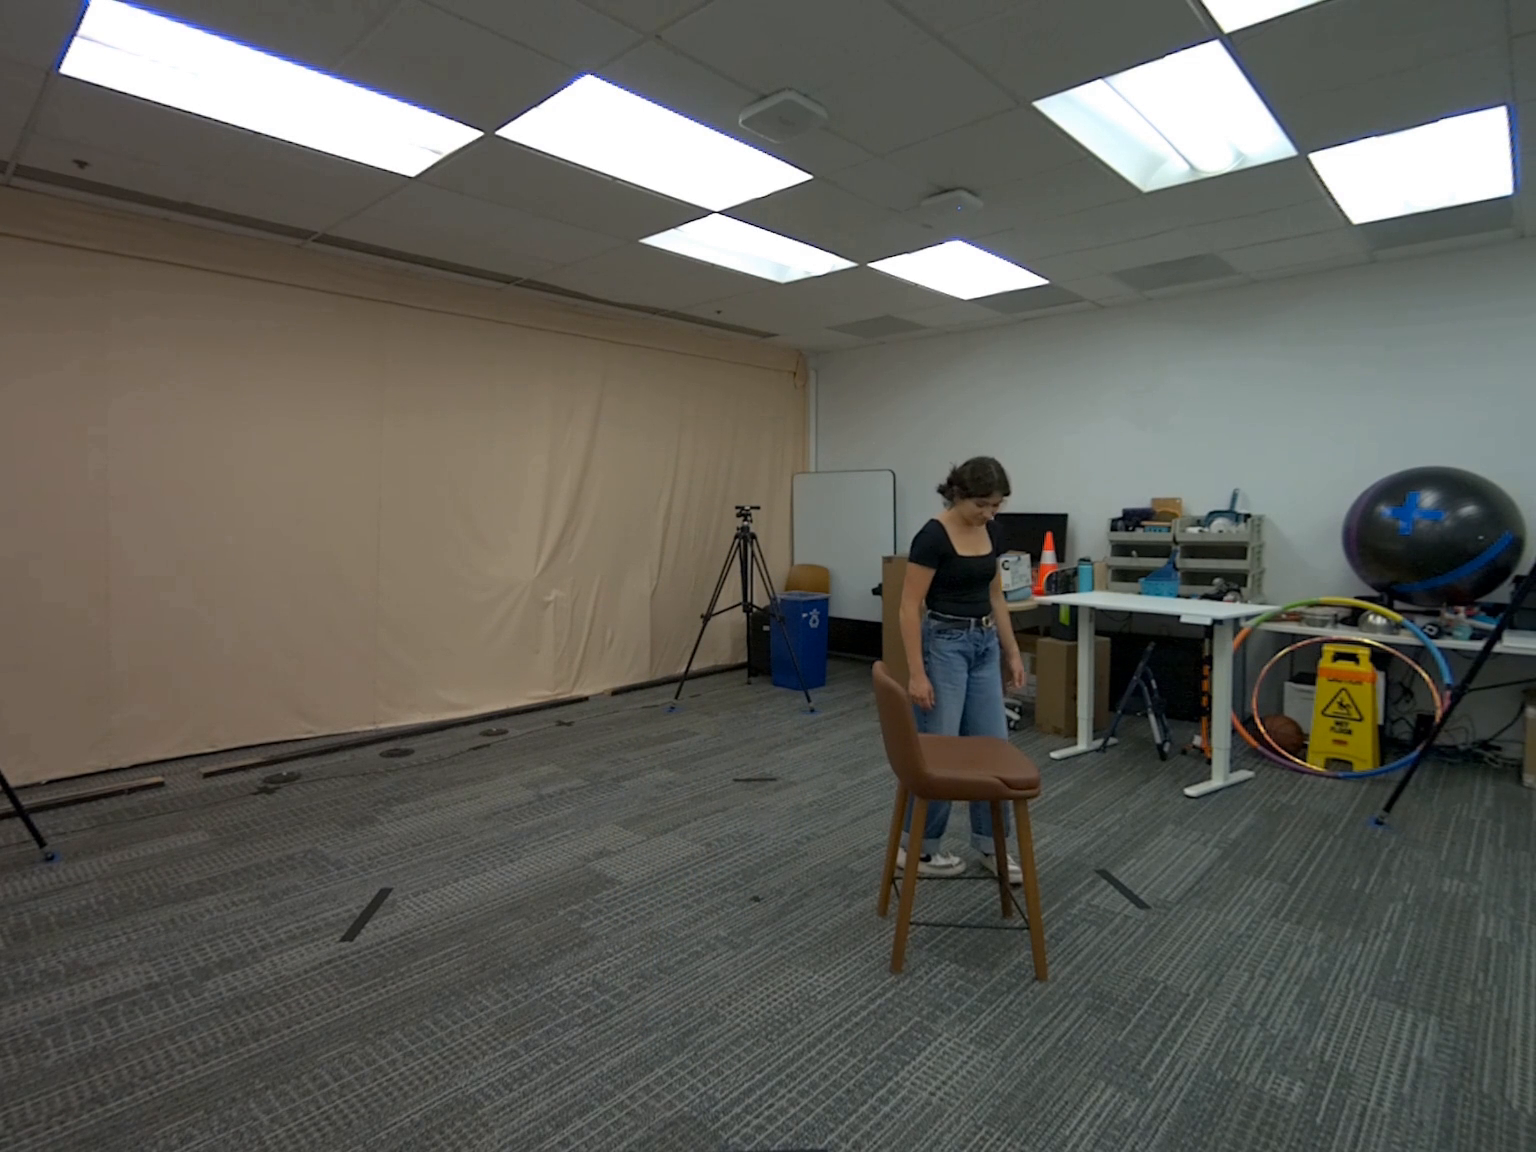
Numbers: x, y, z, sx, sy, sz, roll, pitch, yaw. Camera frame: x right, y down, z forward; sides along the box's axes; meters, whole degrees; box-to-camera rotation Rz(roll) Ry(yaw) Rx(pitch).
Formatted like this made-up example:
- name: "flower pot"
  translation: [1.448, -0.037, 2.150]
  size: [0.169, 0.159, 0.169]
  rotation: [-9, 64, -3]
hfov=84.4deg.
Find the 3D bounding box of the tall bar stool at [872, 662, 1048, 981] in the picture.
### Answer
- name: "tall bar stool"
  translation: [0.594, 0.738, 2.649]
  size: [0.470, 0.887, 0.455]
  rotation: [-2, 4, 4]
